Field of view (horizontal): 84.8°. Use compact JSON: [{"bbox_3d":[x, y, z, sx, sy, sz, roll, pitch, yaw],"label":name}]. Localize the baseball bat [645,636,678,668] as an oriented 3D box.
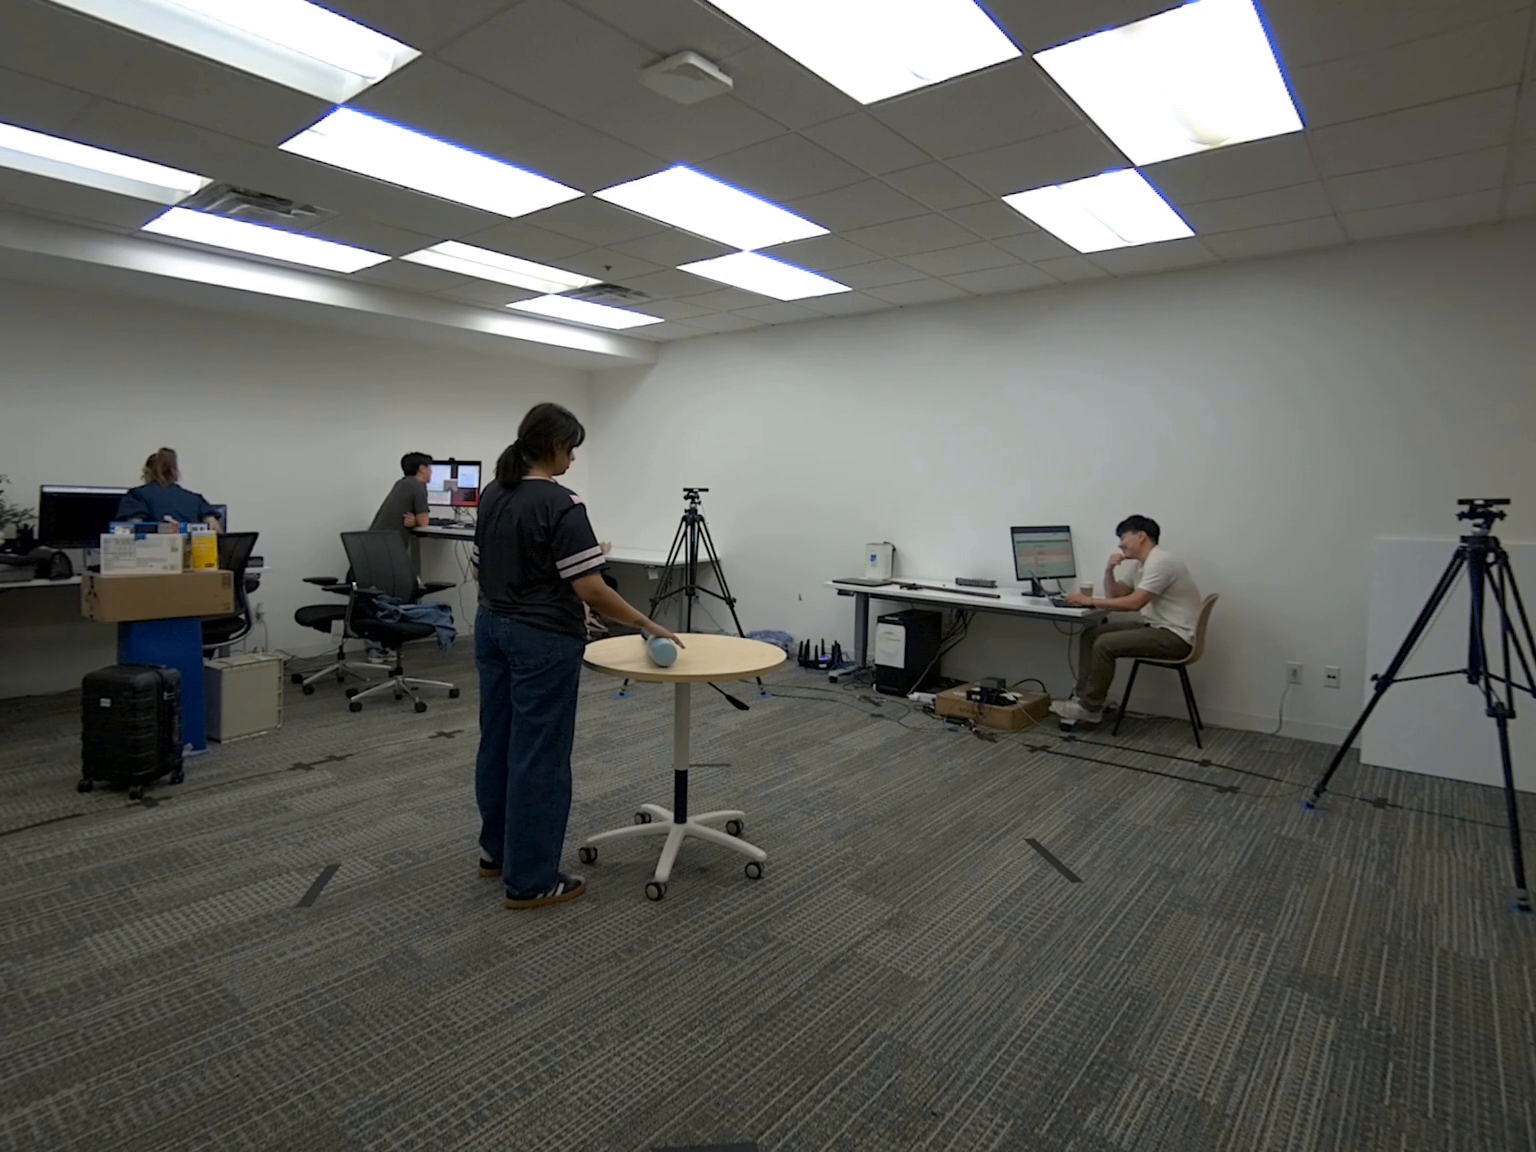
[{"bbox_3d":[-0.430,0.247,3.116,0.088,0.089,0.552,0,4,-14],"label":"baseball bat"}]
